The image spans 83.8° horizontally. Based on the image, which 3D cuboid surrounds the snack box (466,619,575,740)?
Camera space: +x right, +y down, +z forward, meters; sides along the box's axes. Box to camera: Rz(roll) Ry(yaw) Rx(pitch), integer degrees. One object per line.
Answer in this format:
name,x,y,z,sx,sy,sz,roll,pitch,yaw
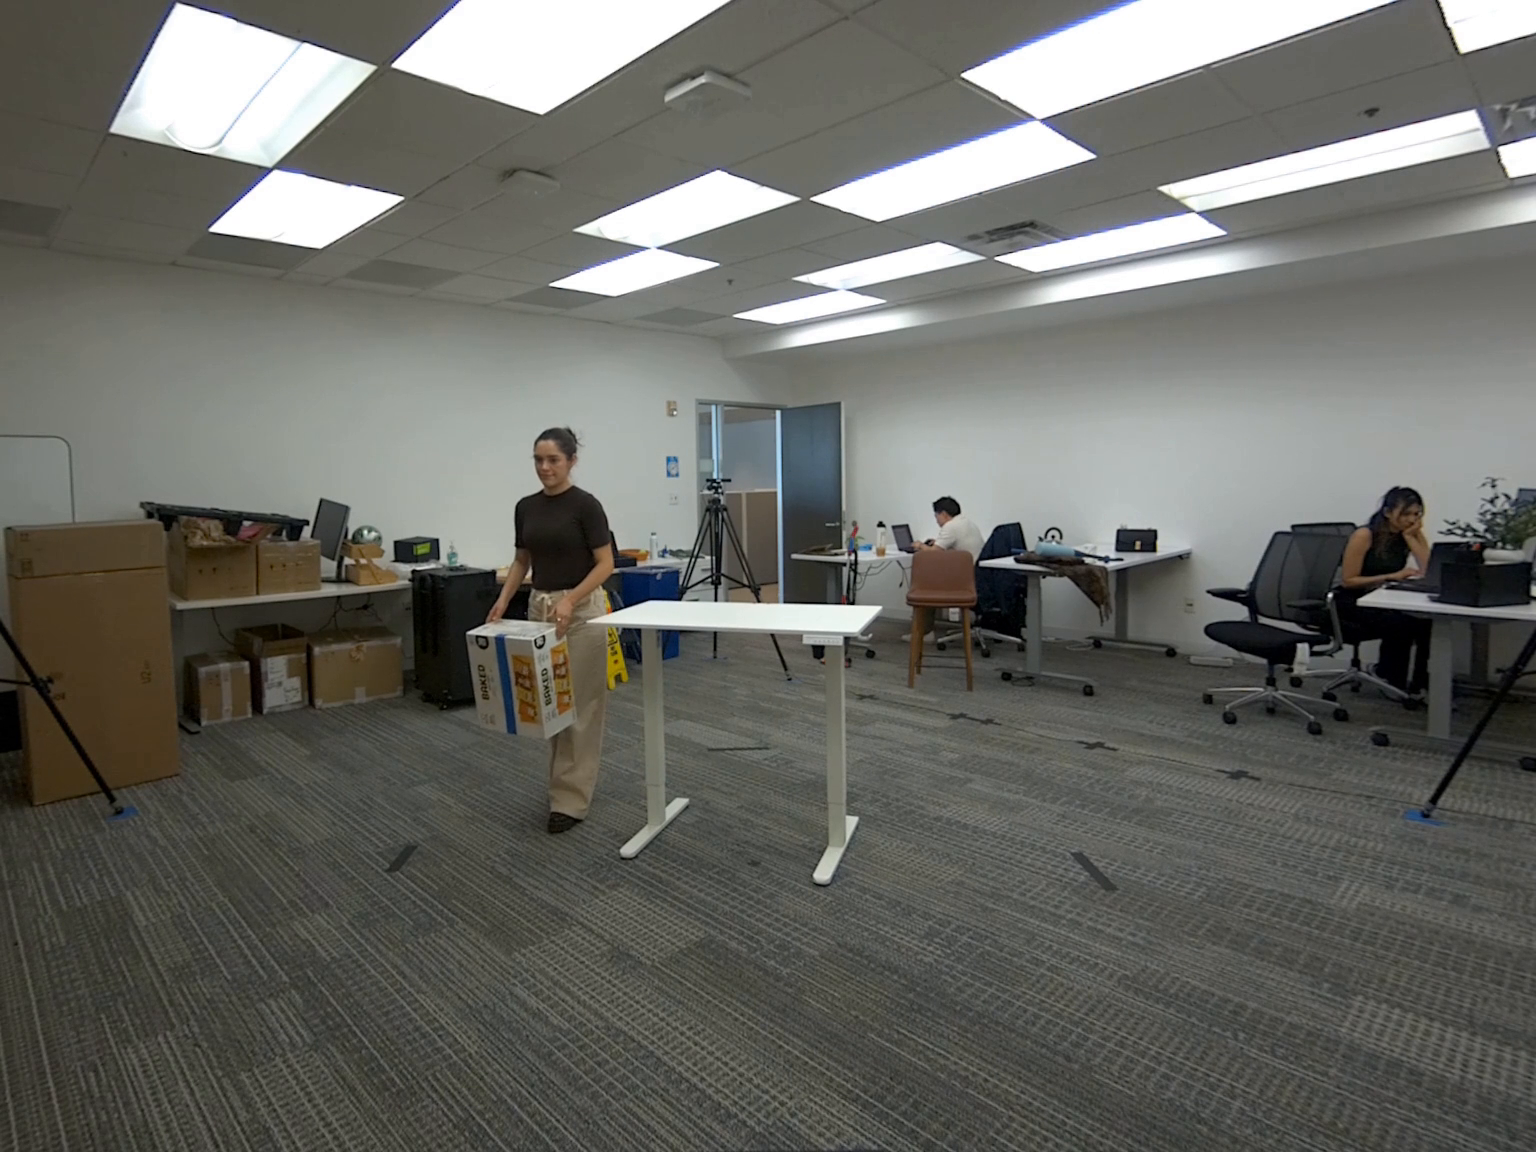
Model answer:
snack box,-0.984,0.401,3.401,0.348,0.401,0.203,2,13,27
